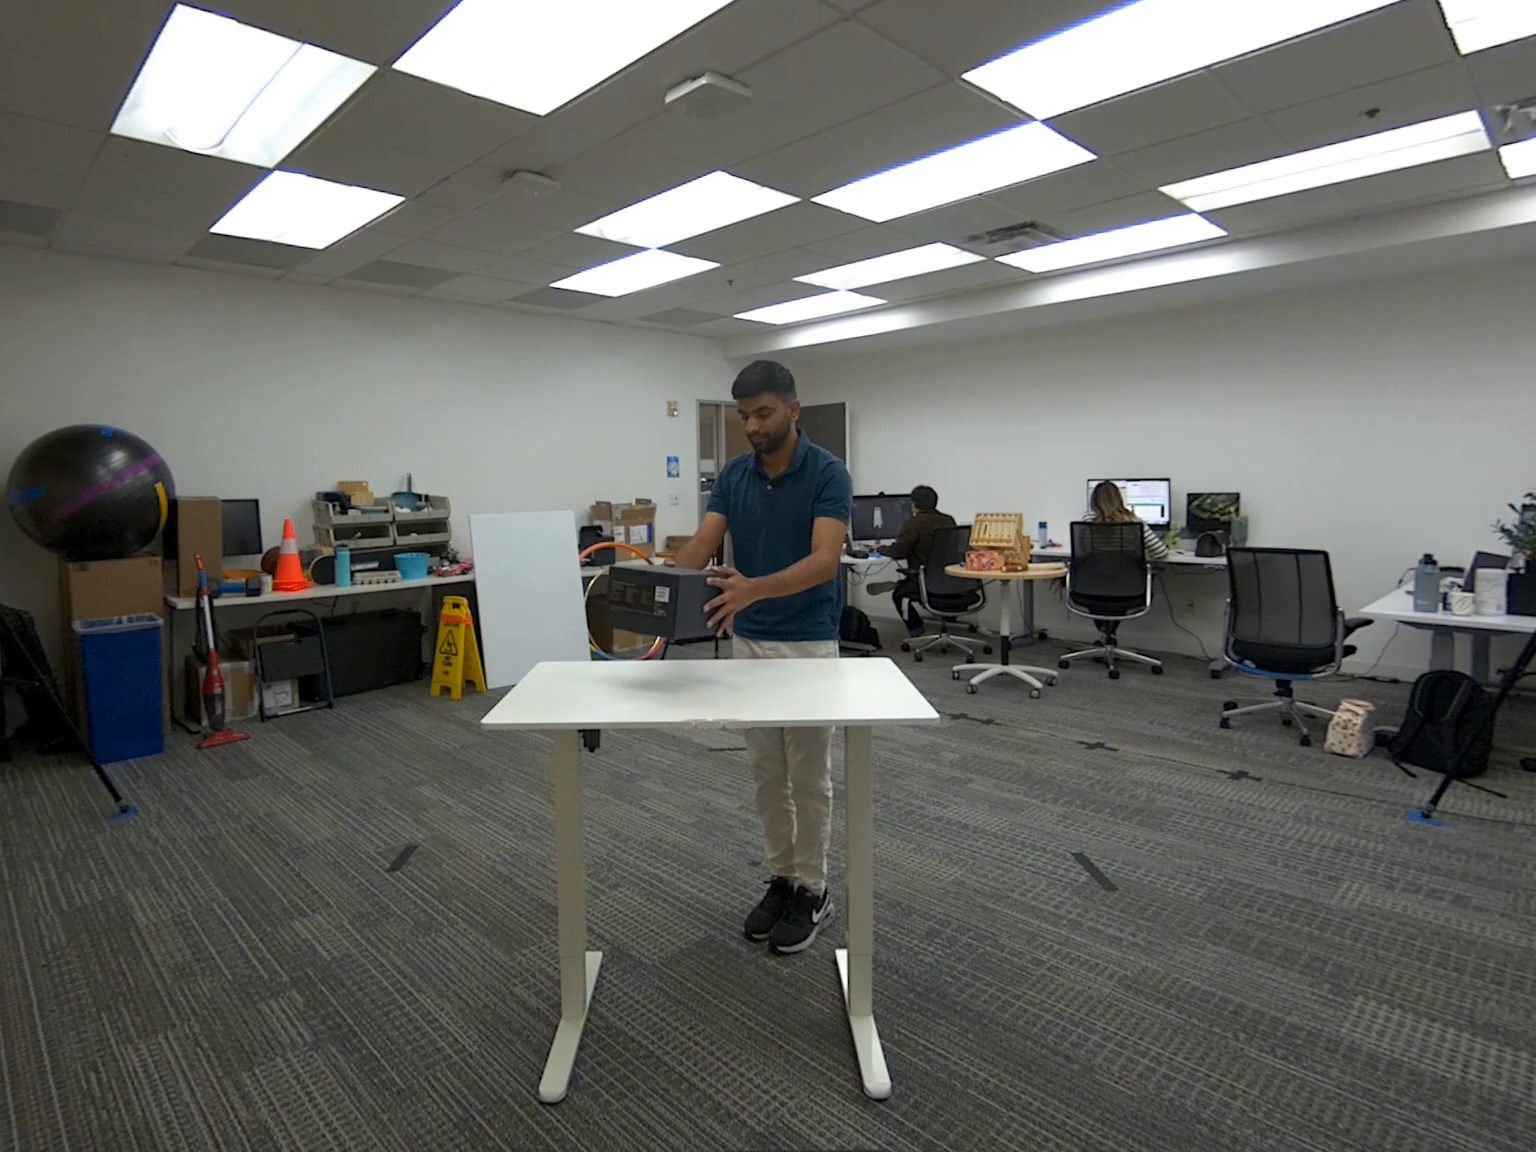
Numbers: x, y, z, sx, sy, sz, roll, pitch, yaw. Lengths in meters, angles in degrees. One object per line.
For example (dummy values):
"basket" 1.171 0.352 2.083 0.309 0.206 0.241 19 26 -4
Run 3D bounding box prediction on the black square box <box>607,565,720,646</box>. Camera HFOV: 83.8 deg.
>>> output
"black square box" -0.256 0.065 2.170 0.223 0.156 0.222 6 2 31
